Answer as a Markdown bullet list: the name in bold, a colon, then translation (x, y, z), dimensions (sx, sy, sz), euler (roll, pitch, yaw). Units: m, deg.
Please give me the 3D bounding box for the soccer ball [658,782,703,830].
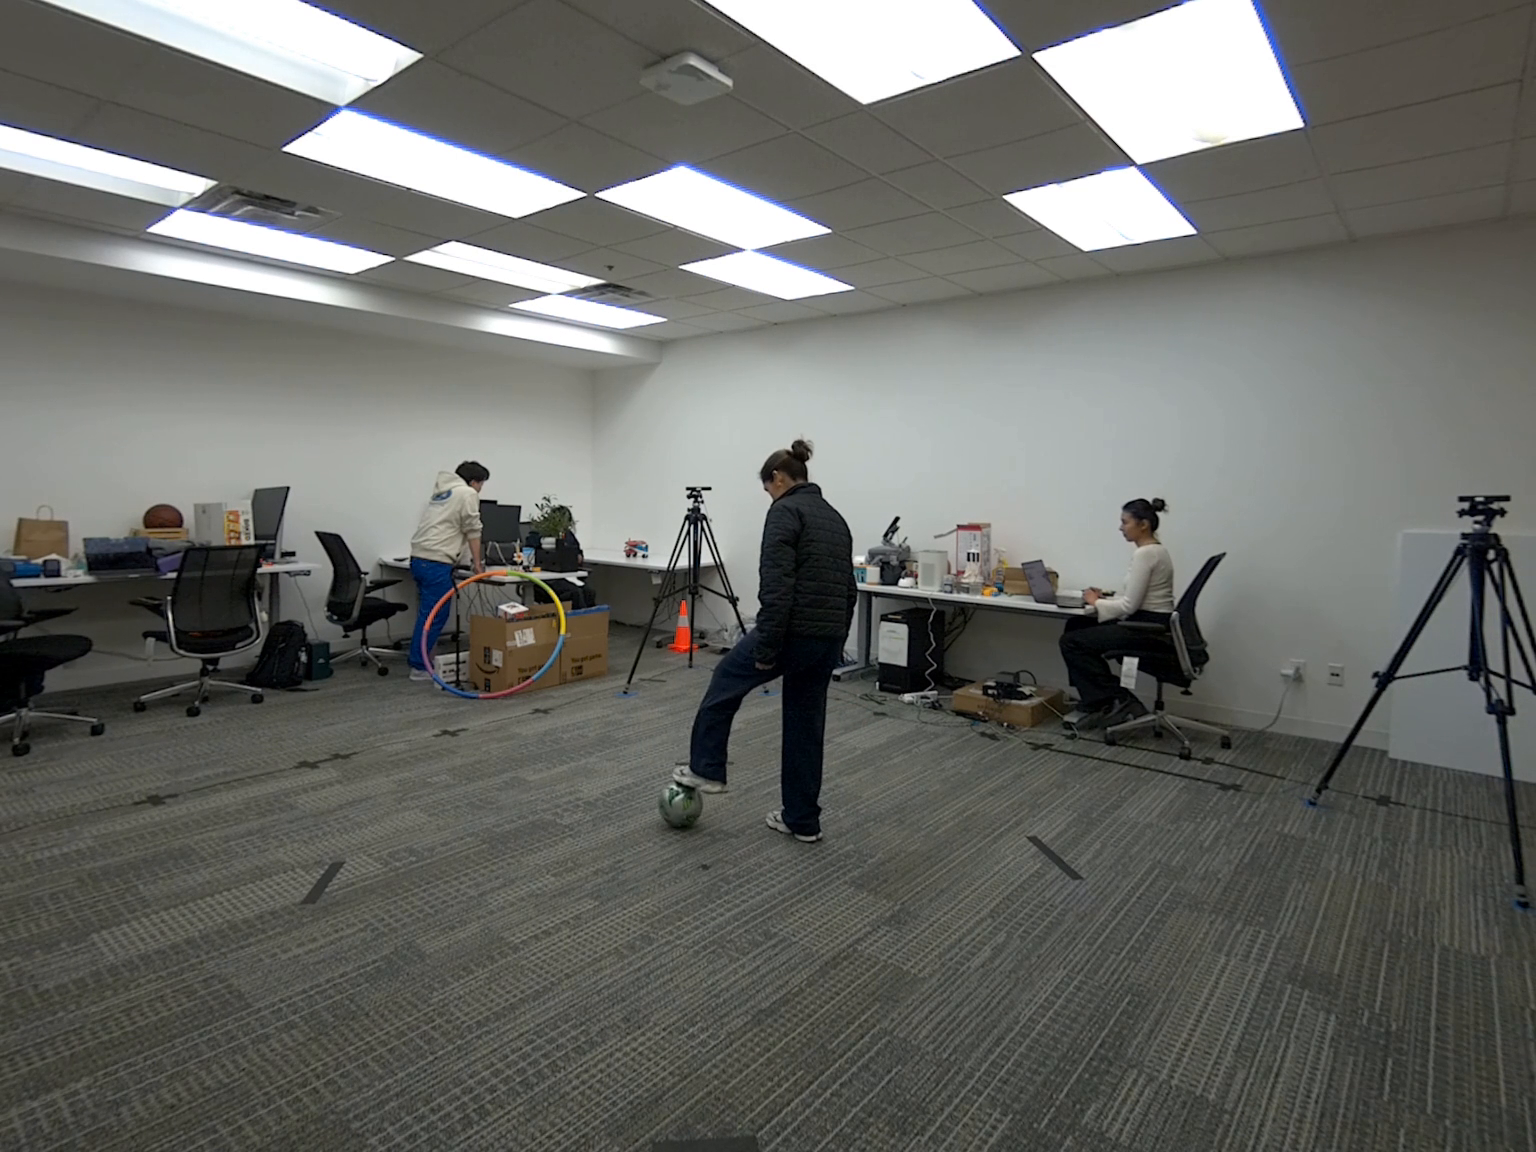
- **soccer ball**: translation (-0.363, 0.933, 3.494), dimensions (0.187, 0.187, 0.188), euler (1, 4, -2)
